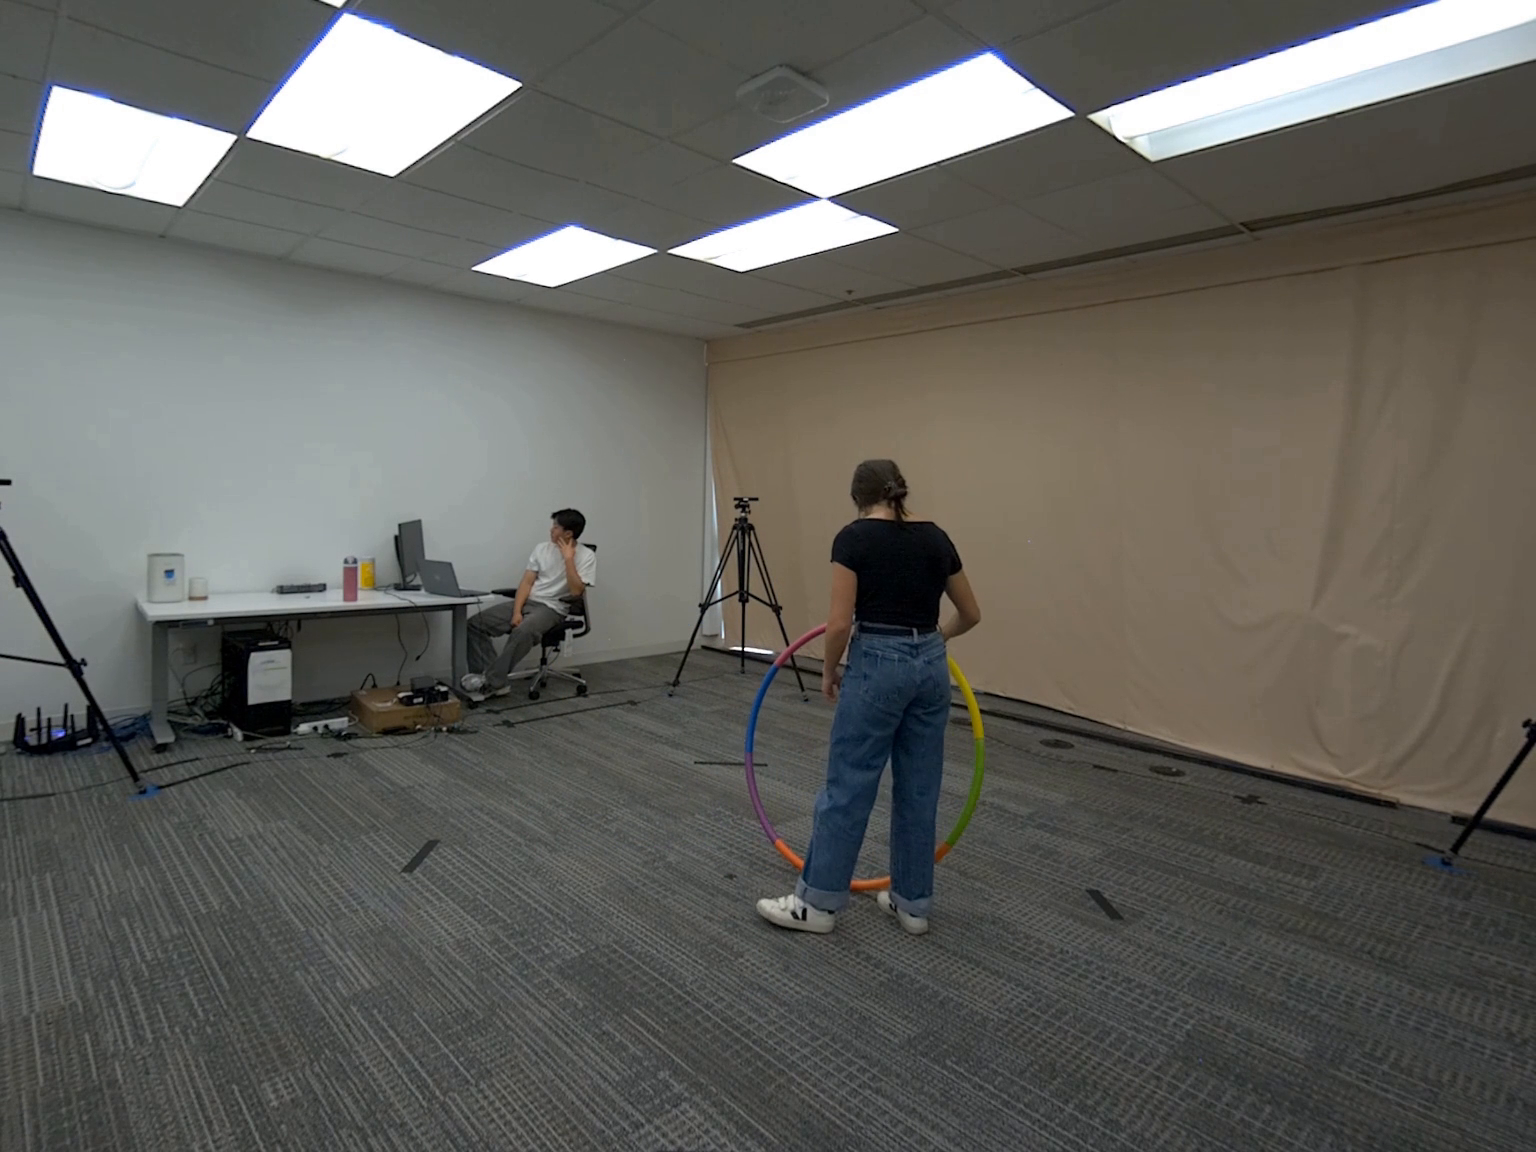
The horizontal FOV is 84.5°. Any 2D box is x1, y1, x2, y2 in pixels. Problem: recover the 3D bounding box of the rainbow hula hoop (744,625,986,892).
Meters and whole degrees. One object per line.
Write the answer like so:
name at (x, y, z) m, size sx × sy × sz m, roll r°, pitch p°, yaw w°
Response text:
rainbow hula hoop at (0.307, 0.645, 3.145) m, size 1.002 × 0.984 × 0.034 m, roll 4°, pitch -12°, yaw 35°
